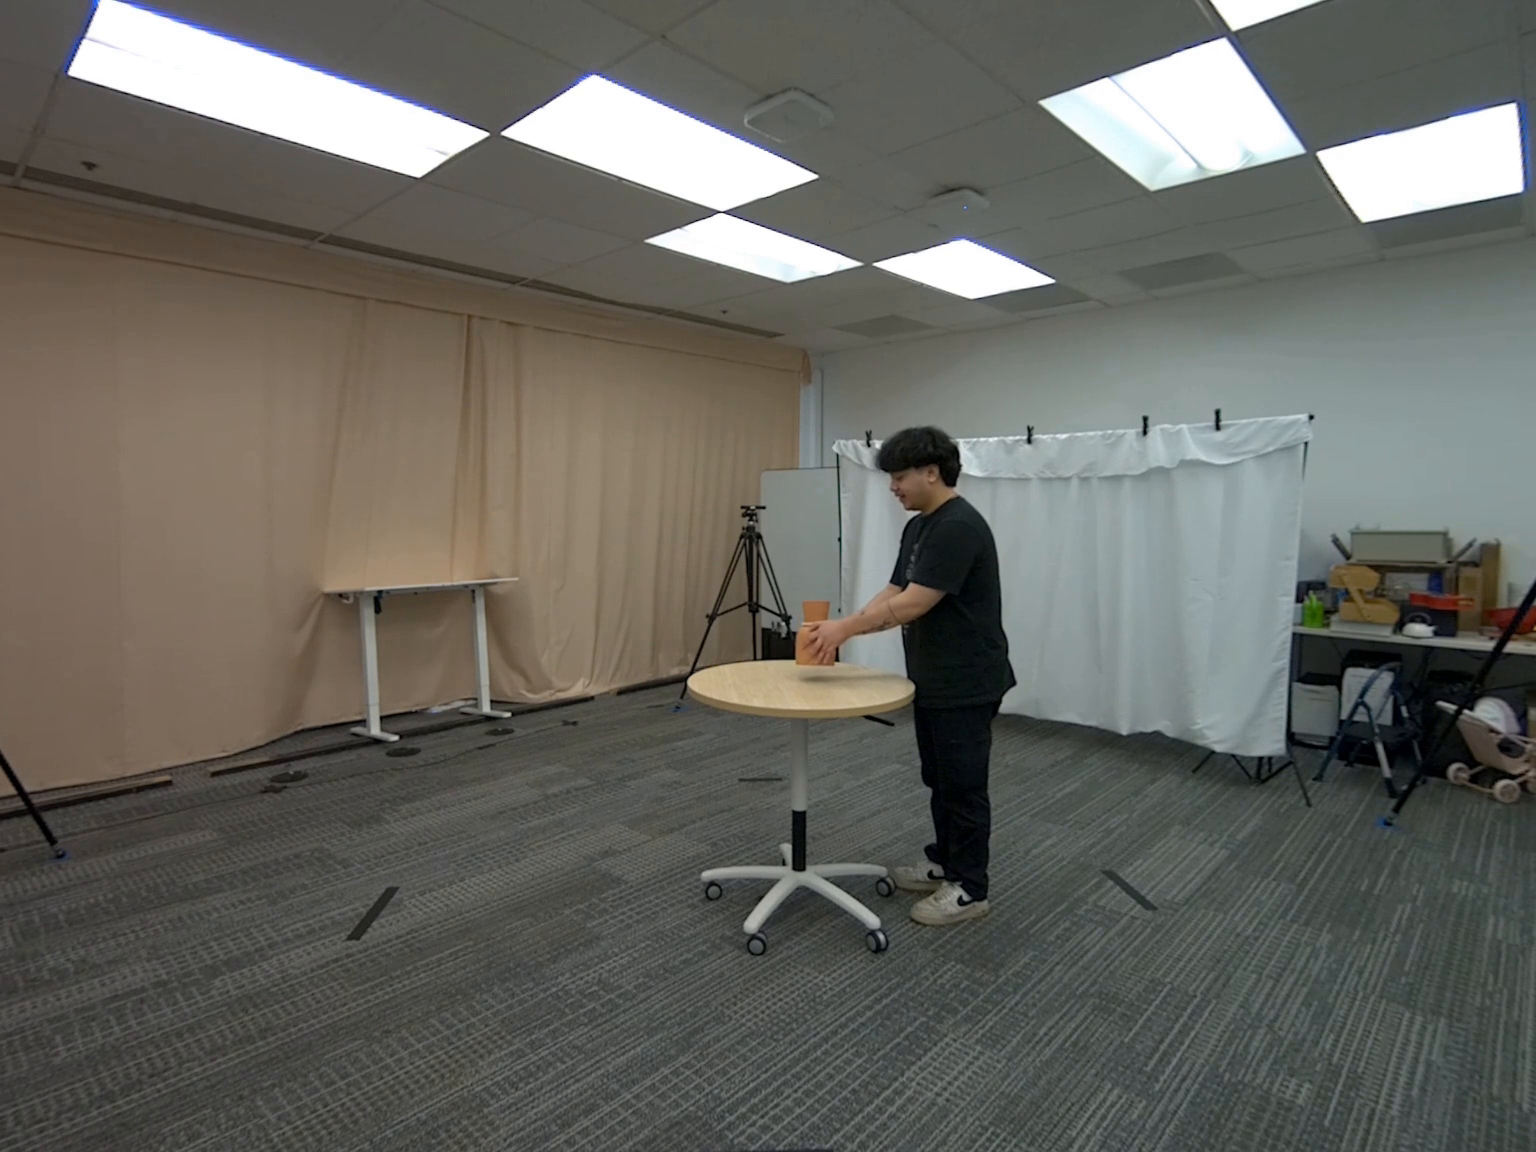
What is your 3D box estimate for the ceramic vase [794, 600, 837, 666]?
[{"bbox_3d":[0.175,0.198,2.906,0.161,0.221,0.132,0,-7,11],"label":"ceramic vase"}]
